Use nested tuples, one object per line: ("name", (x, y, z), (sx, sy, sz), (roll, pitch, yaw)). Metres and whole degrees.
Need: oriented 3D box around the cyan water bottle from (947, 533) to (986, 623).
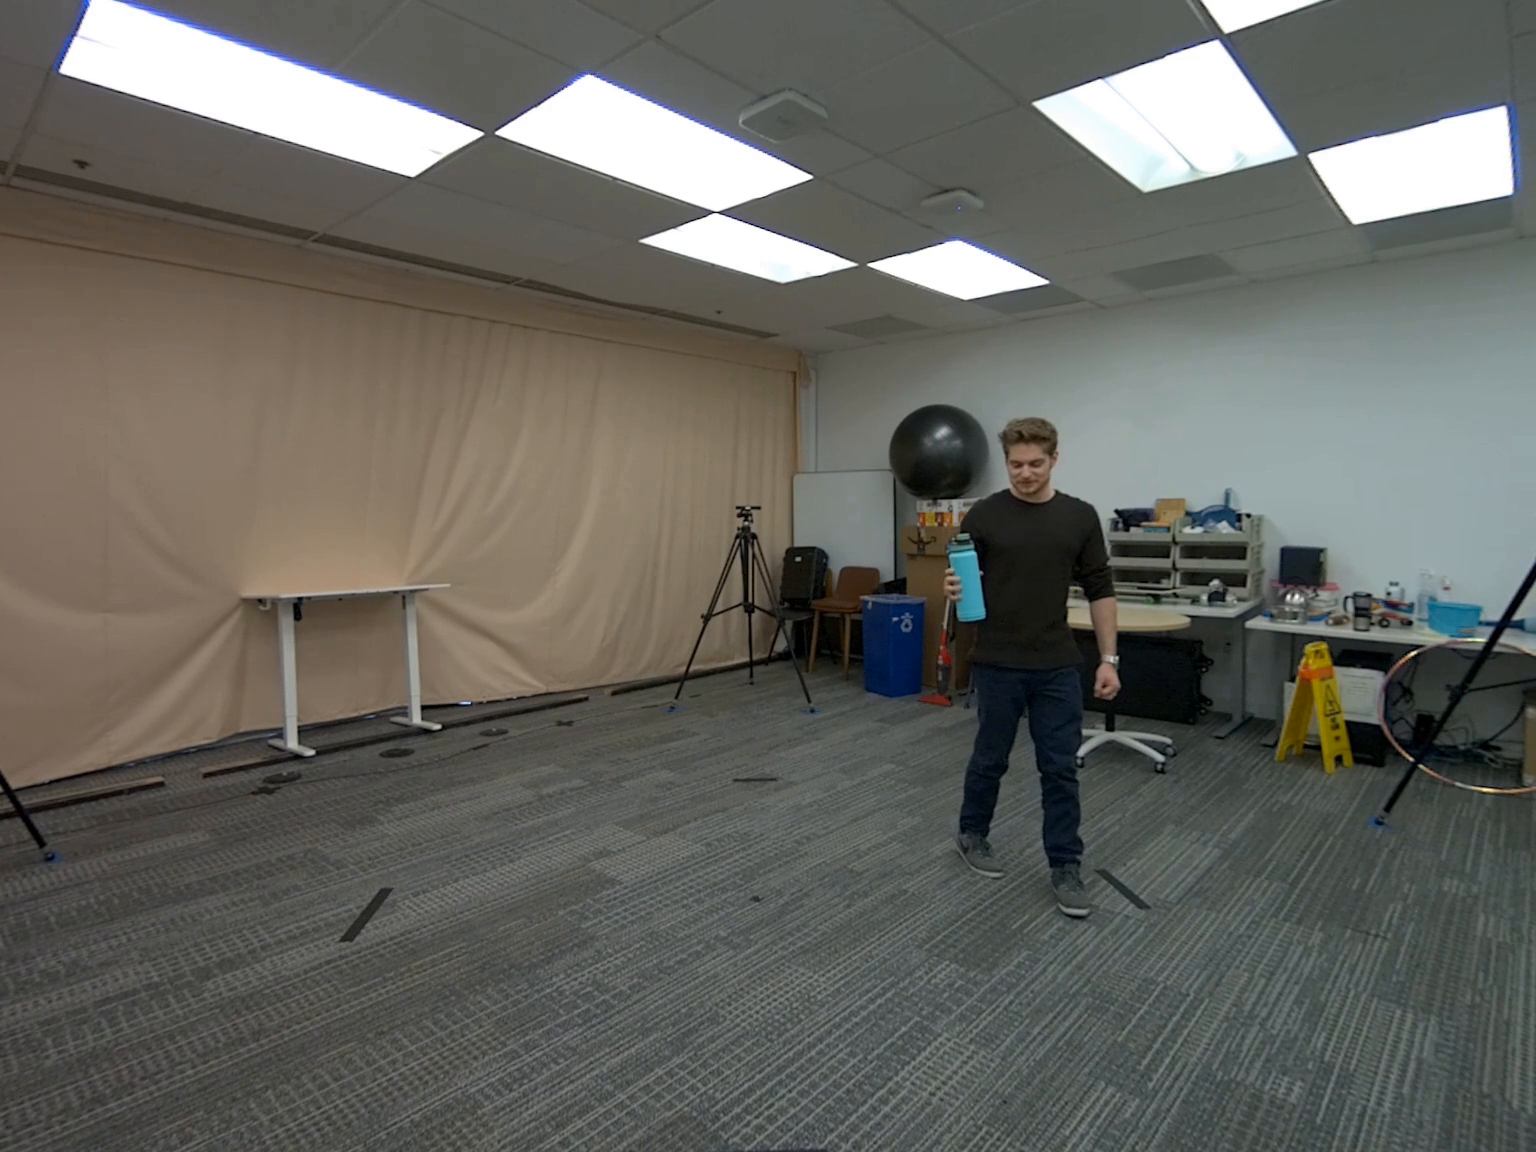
("cyan water bottle", (0.672, 0.001, 2.793), (0.092, 0.283, 0.092), (-8, 0, -2))
